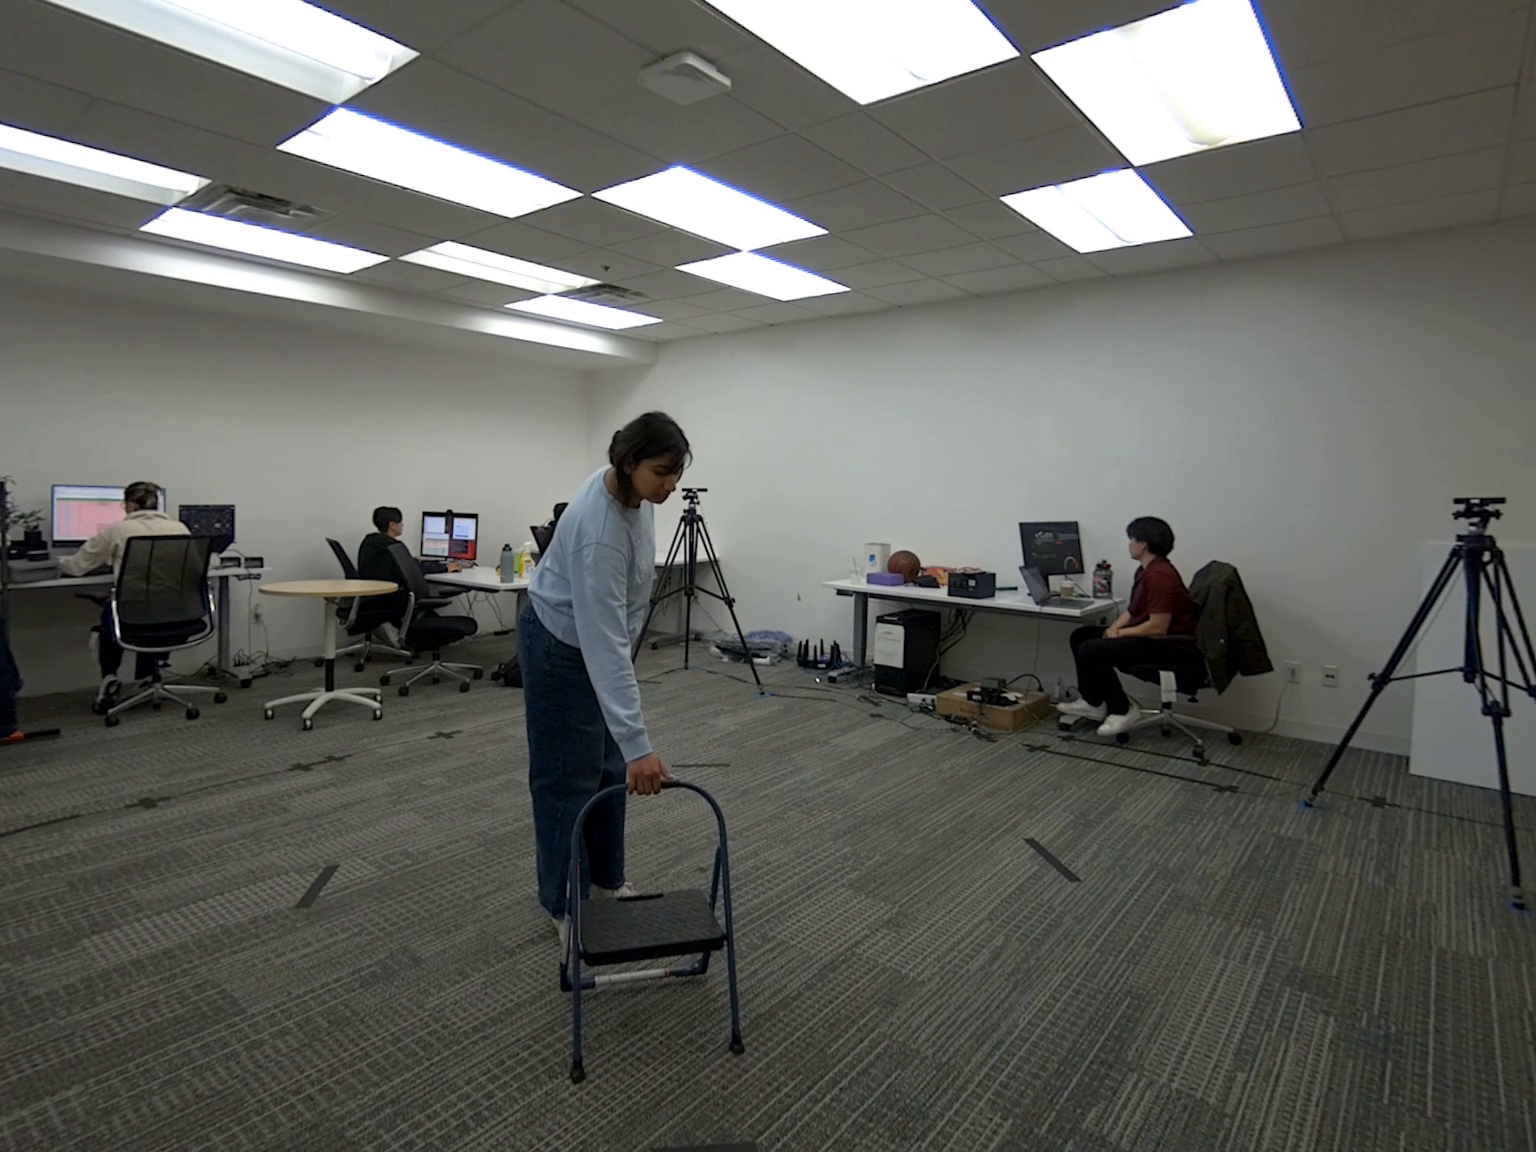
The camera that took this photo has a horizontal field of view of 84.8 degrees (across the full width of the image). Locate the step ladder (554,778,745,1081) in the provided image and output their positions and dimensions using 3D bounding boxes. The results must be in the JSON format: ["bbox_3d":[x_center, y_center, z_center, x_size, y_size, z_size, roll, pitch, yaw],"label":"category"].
[{"bbox_3d":[-0.307,0.846,2.183,0.423,0.603,0.358,1,6,-18],"label":"step ladder"}]
